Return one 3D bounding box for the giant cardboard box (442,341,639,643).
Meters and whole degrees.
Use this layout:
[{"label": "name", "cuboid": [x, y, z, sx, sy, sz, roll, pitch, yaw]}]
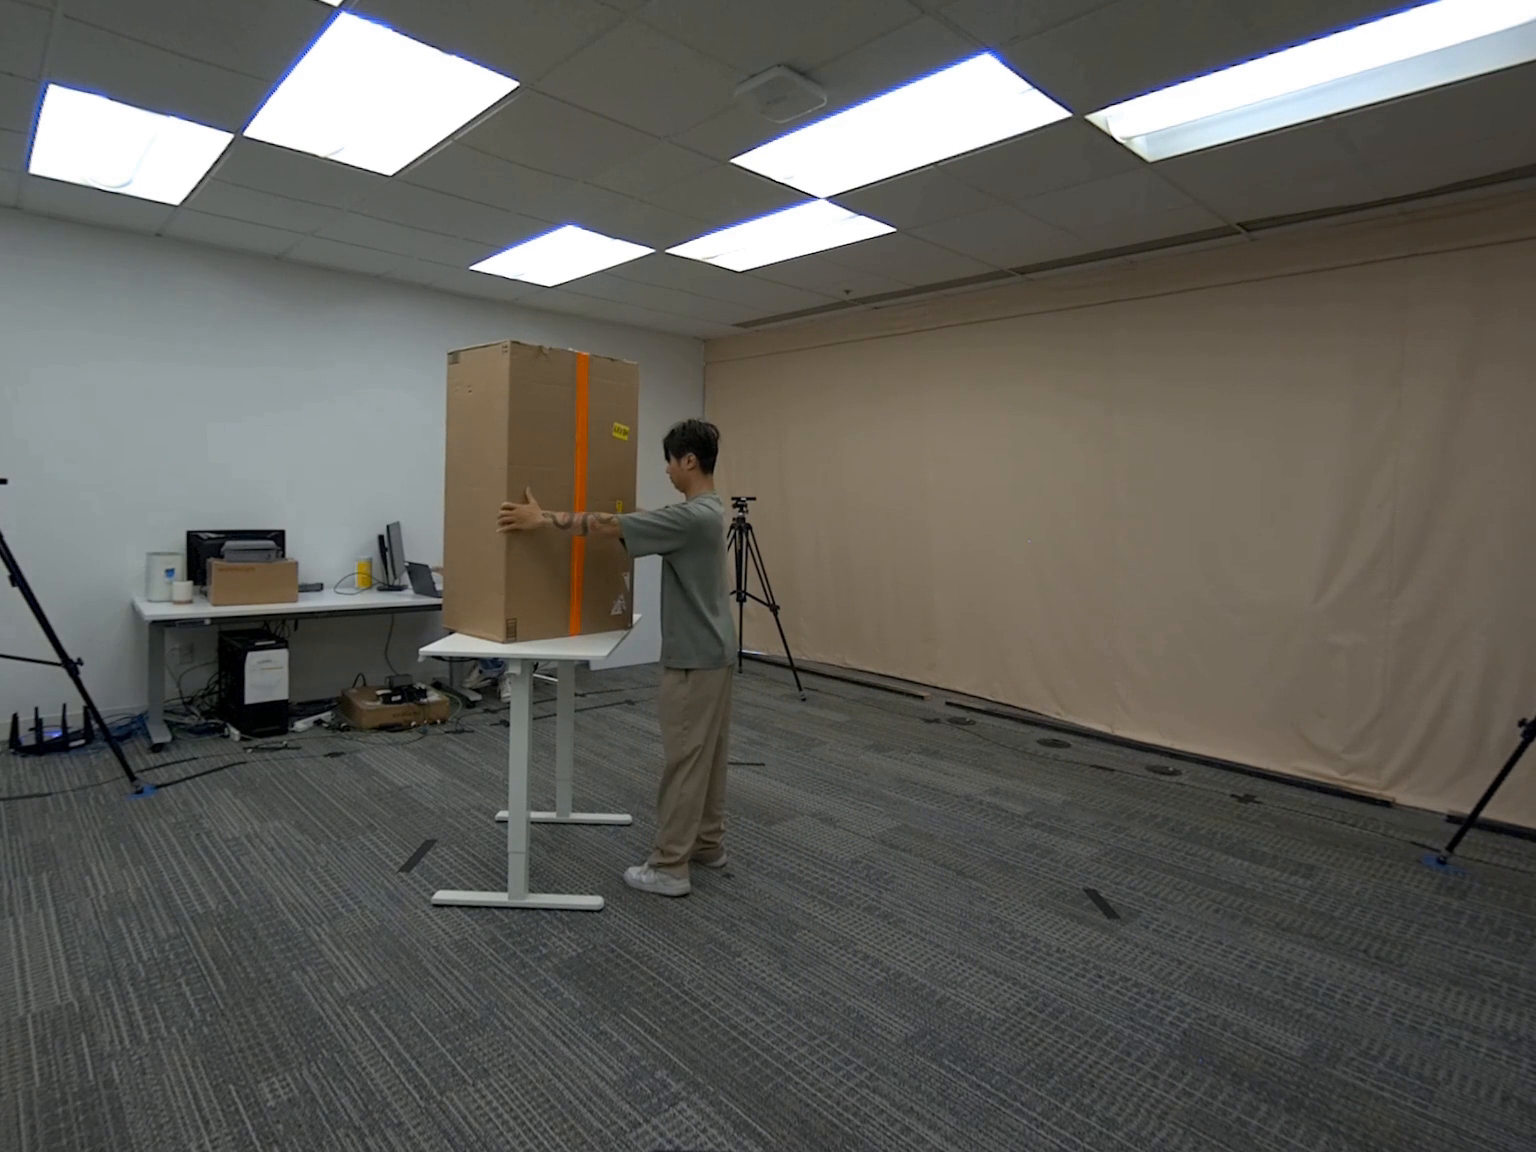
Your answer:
[{"label": "giant cardboard box", "cuboid": [-0.854, -0.307, 3.163, 0.437, 1.024, 0.564, 5, 4, 41]}]
